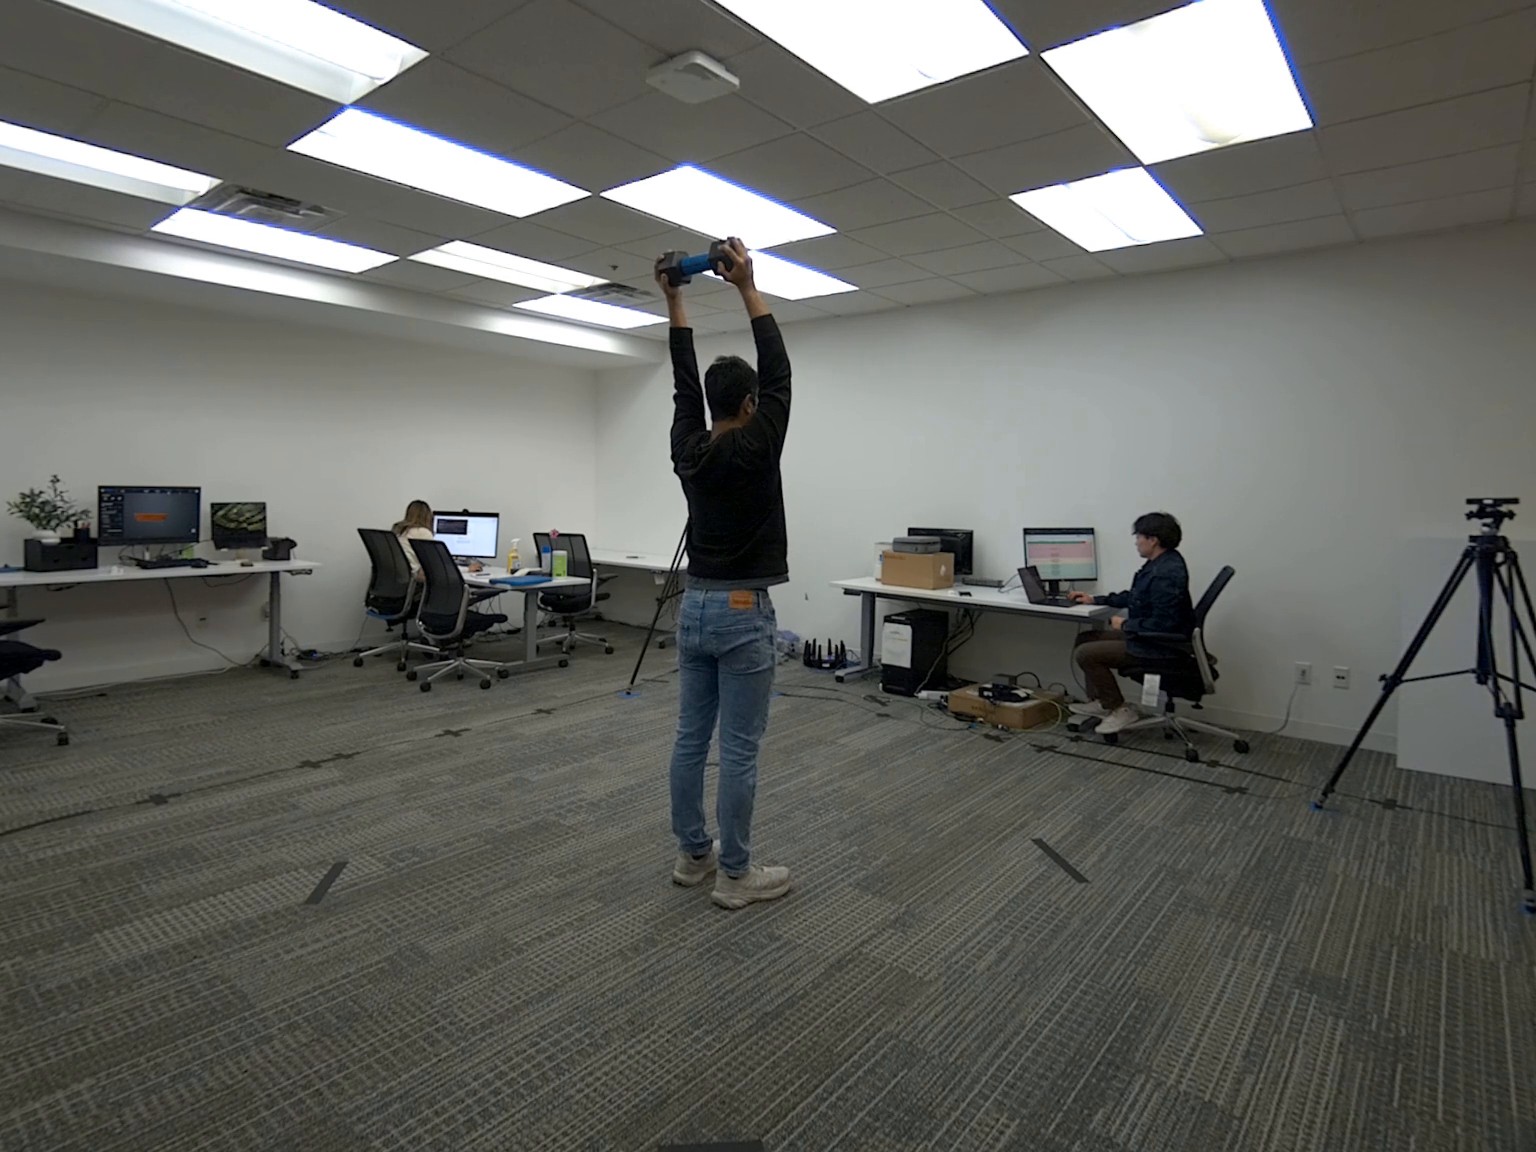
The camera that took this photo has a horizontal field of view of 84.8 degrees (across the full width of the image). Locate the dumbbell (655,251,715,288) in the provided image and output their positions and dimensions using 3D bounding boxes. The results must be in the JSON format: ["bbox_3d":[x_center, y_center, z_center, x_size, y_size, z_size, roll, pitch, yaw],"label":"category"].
[{"bbox_3d":[-0.231,-1.039,2.816,0.303,0.107,0.121,3,18,38],"label":"dumbbell"}]
